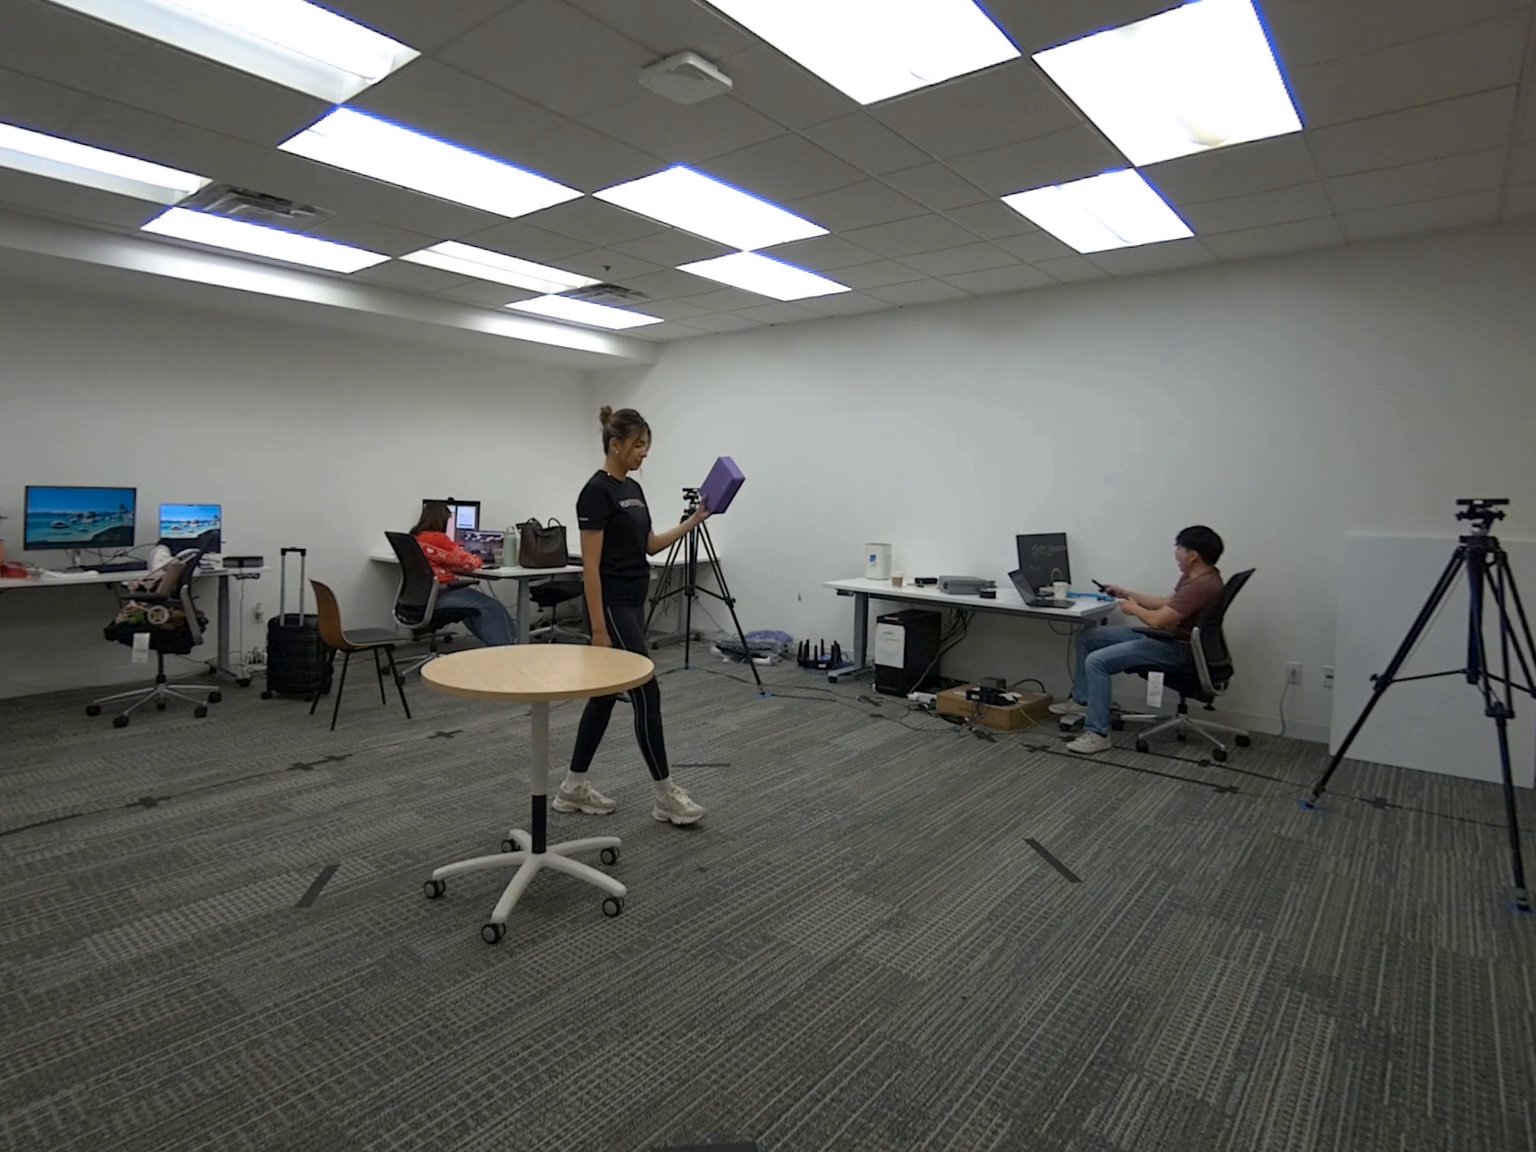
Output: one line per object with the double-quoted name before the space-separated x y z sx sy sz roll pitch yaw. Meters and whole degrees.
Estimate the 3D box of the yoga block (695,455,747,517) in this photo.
"yoga block" -0.214 -0.402 3.750 0.074 0.154 0.228 -9 -36 -42
